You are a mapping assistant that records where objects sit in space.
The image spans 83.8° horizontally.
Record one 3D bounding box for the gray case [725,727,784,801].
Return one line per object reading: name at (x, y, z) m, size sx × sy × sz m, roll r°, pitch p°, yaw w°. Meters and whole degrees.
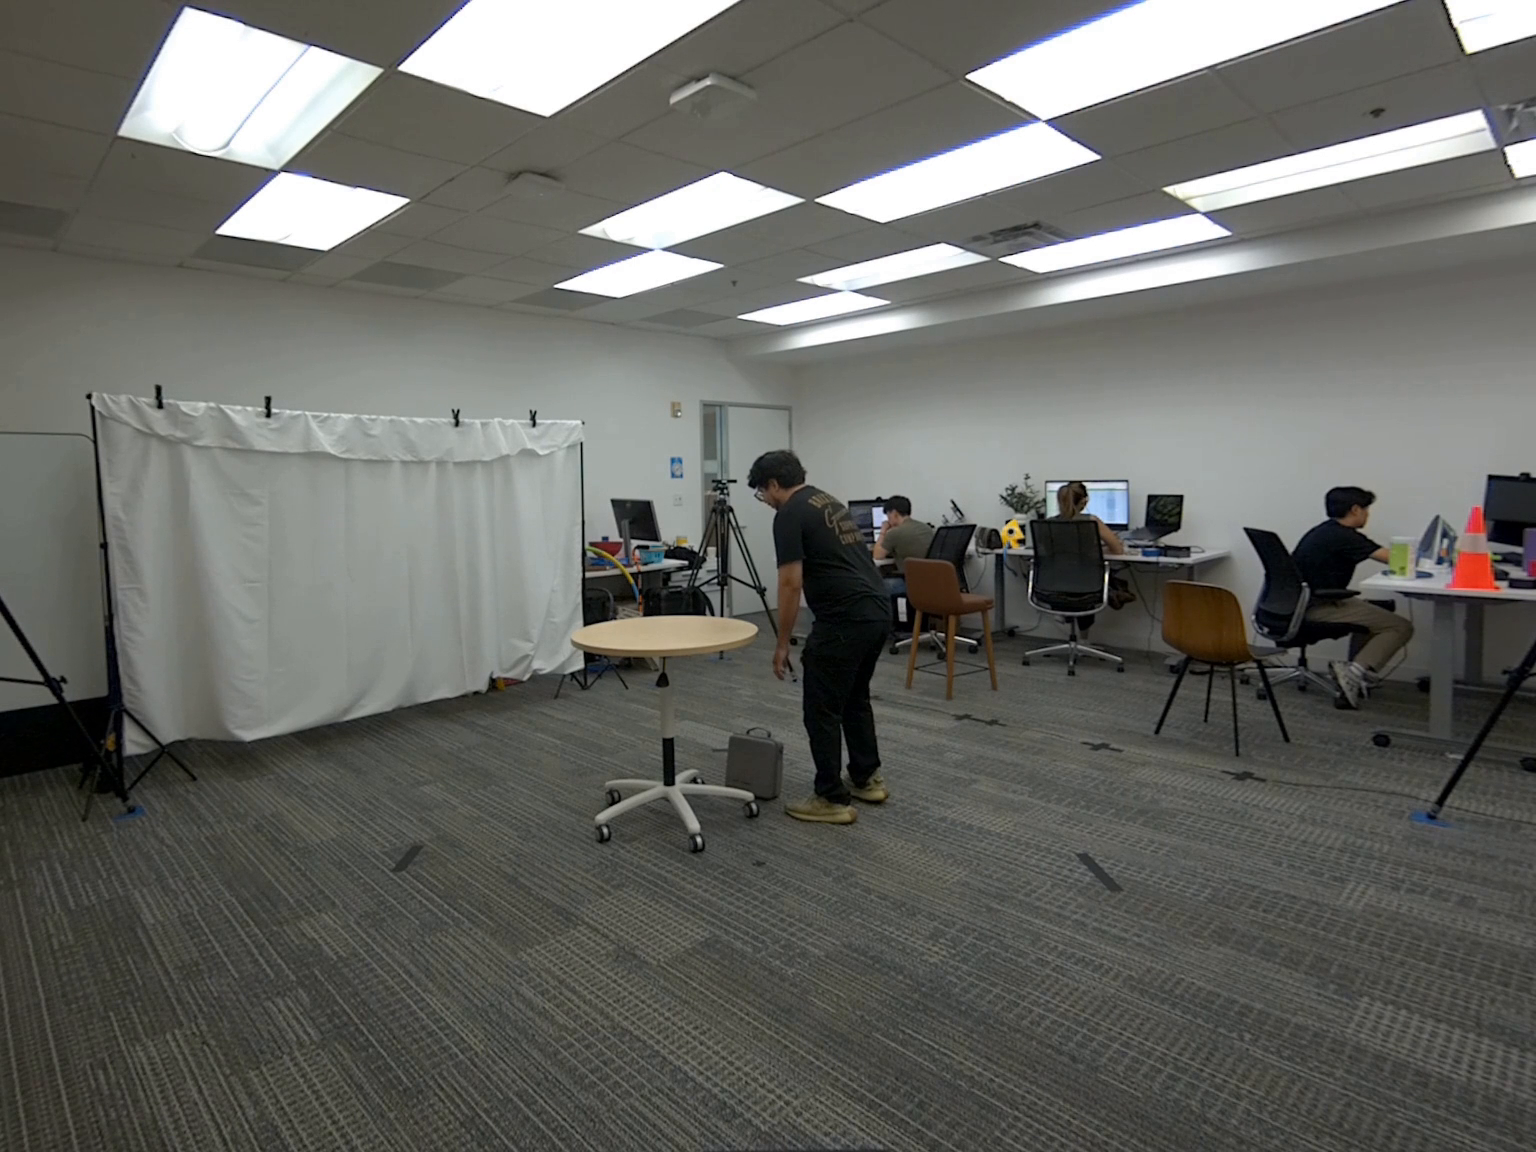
gray case at (-0.061, 0.844, 3.815) m, size 0.264 × 0.261 × 0.101 m, roll 1°, pitch -4°, yaw 36°
